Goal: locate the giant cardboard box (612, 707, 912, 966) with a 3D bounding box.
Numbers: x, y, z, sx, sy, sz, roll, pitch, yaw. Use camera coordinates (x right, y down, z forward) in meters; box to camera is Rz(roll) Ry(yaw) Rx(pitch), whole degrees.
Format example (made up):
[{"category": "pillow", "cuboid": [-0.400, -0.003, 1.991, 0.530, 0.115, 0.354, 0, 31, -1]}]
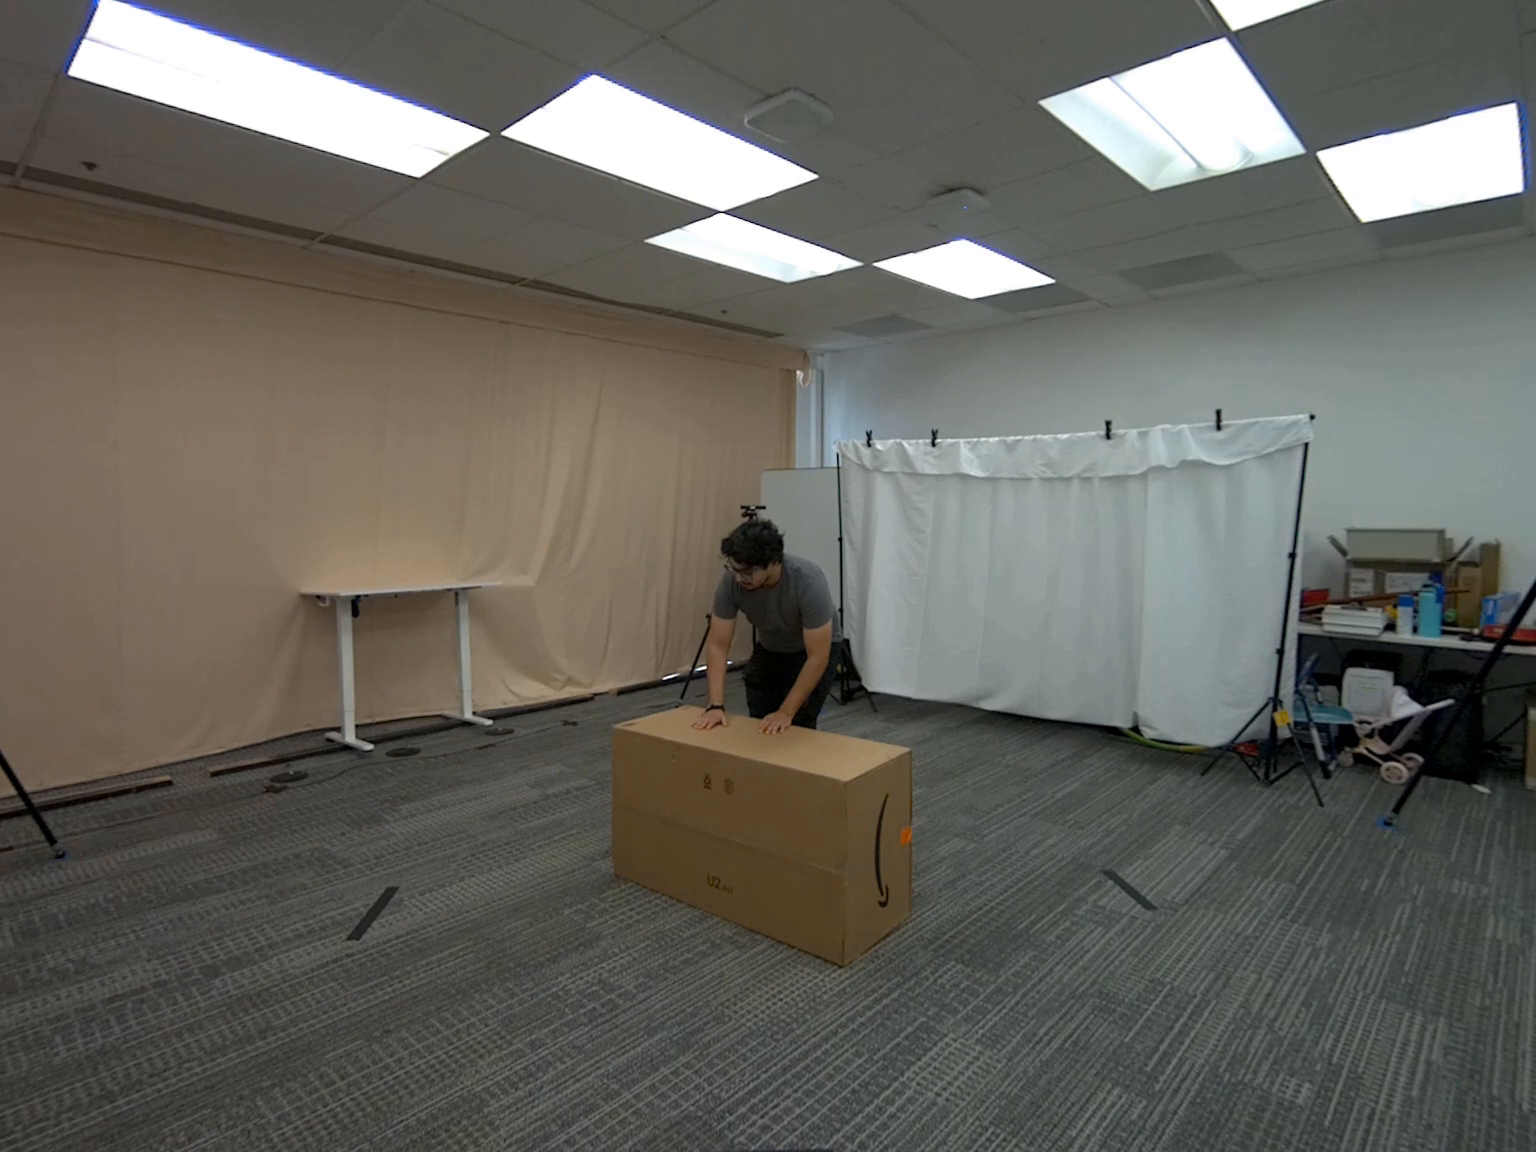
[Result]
[{"category": "giant cardboard box", "cuboid": [-0.047, 0.853, 3.002, 1.059, 0.576, 0.413, 3, 4, 38]}]
